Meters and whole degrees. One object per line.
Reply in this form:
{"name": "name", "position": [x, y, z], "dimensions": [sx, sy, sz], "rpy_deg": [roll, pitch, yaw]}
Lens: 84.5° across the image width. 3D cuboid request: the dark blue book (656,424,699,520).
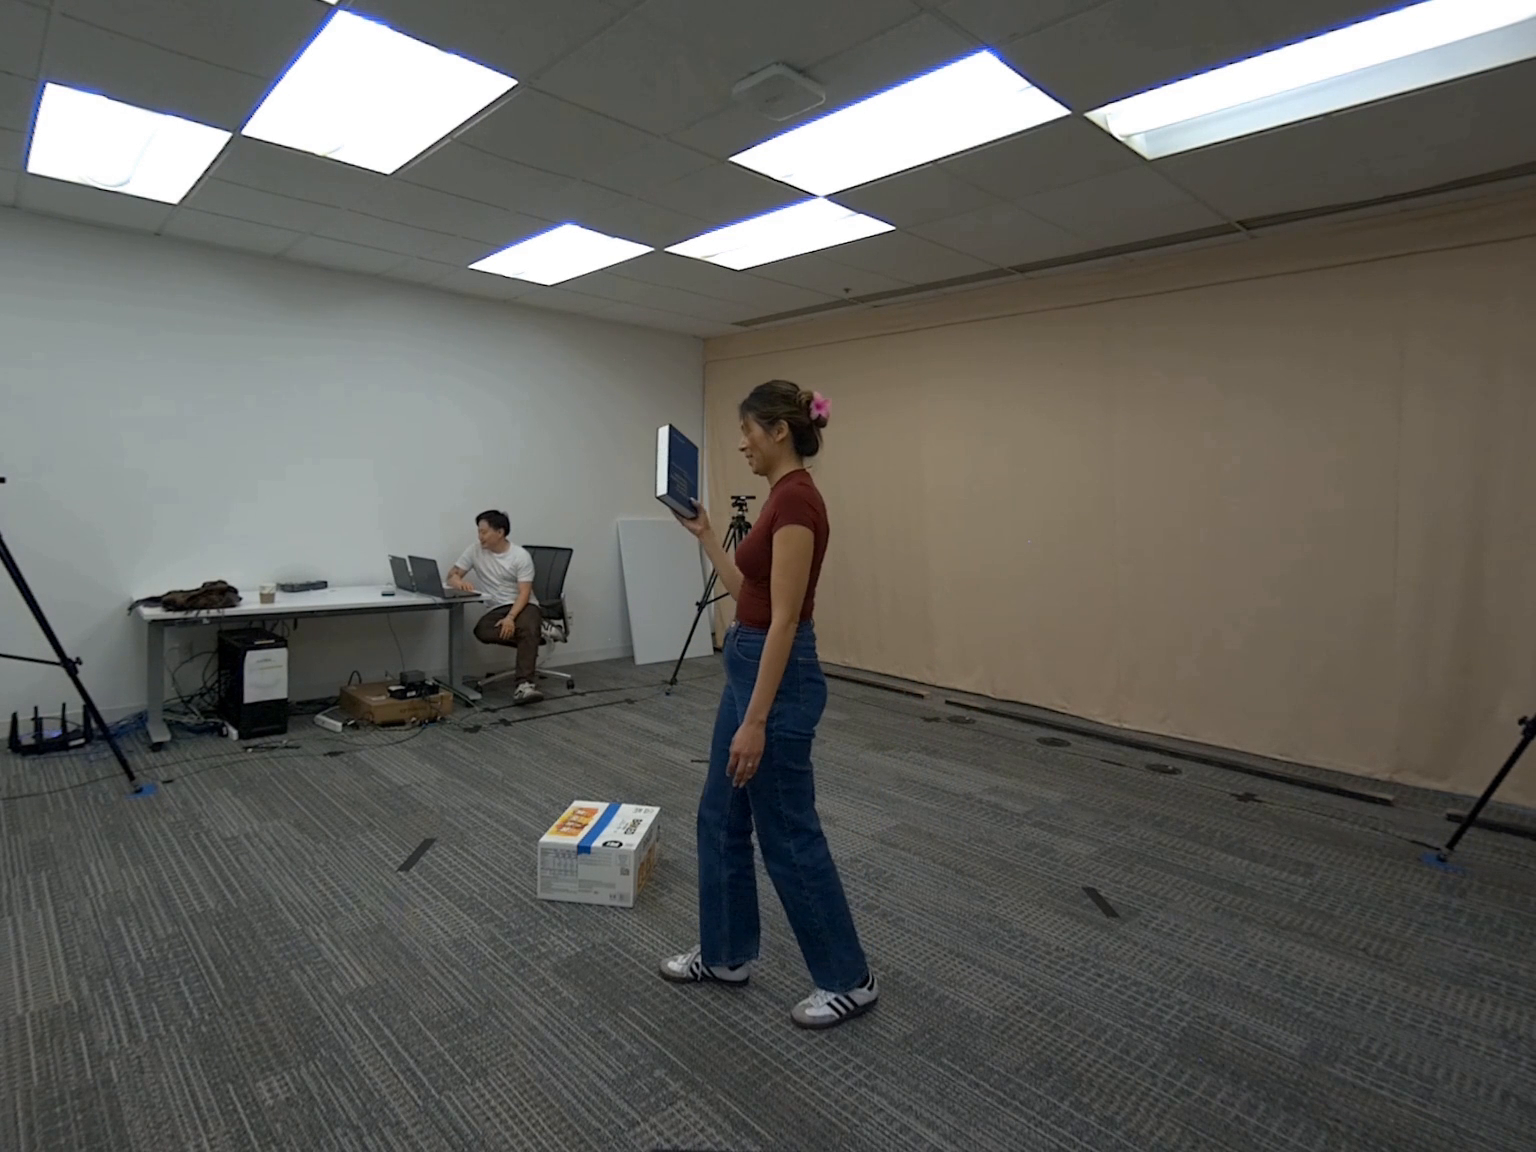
{"name": "dark blue book", "position": [-0.278, -0.311, 2.500], "dimensions": [0.046, 0.250, 0.158], "rpy_deg": [-18, -31, 27]}
